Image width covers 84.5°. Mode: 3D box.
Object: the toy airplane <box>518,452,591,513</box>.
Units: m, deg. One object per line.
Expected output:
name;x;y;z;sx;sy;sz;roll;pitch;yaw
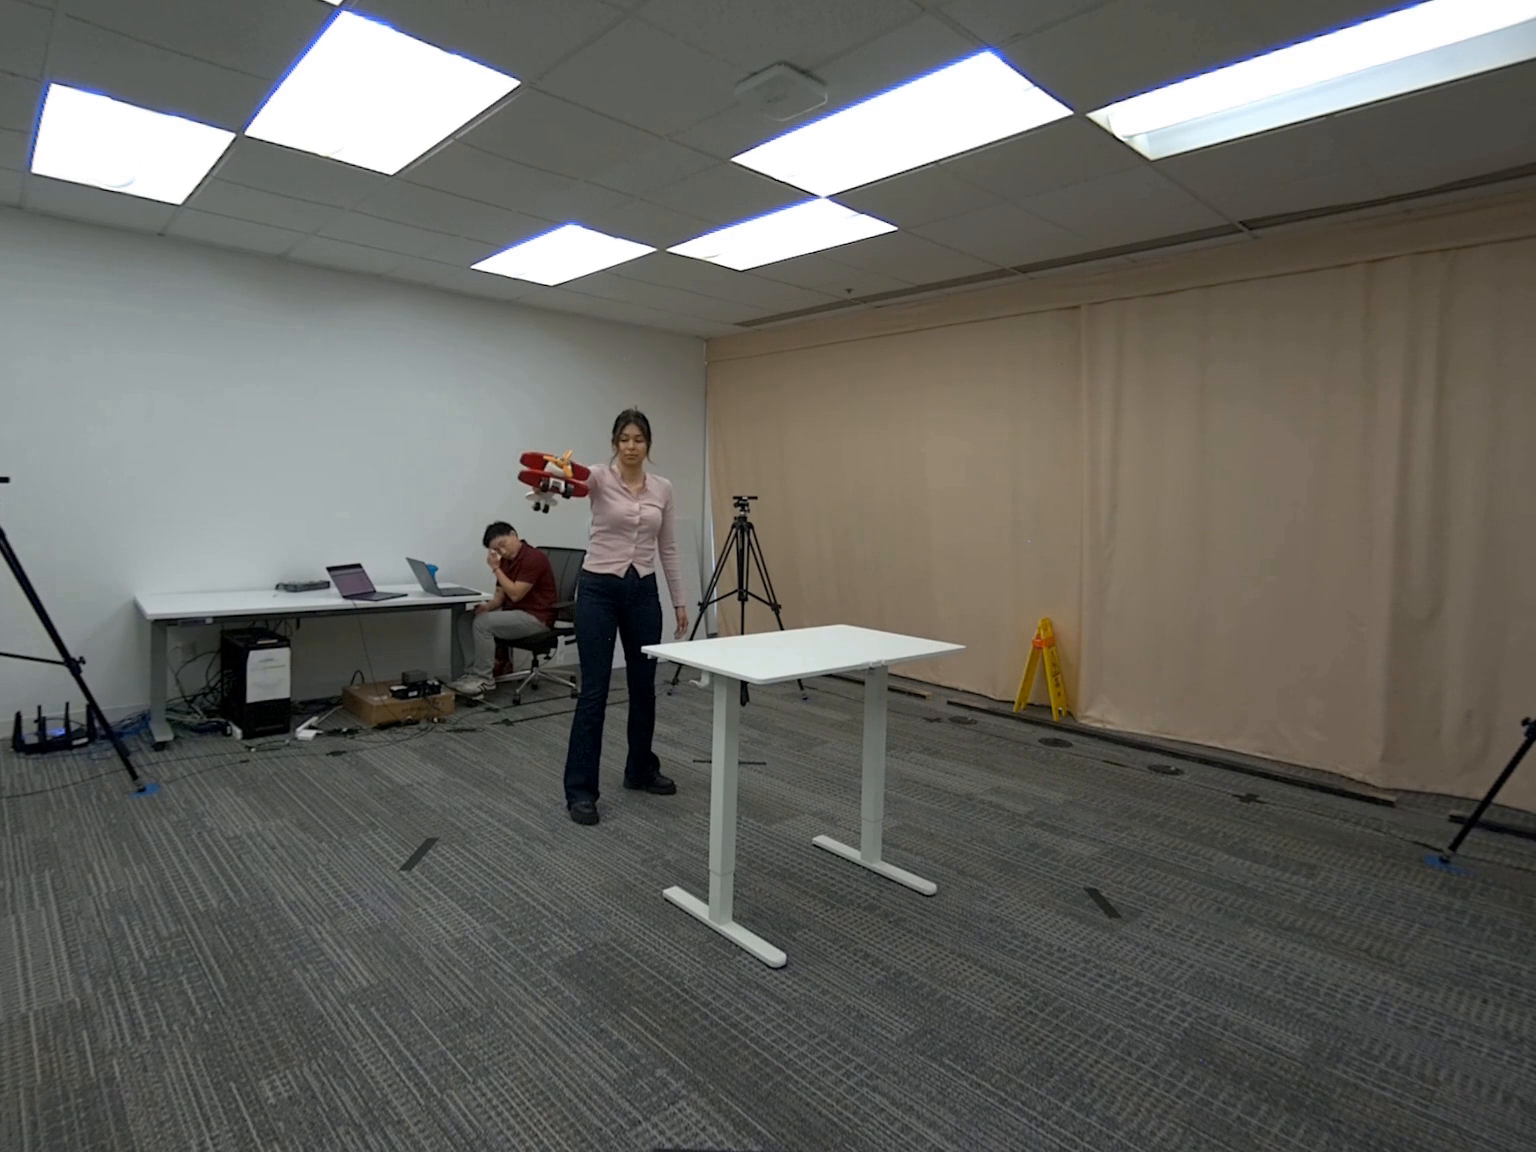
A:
toy airplane;-0.805;-0.340;3.022;0.264;0.158;0.243;-10;-25;32
